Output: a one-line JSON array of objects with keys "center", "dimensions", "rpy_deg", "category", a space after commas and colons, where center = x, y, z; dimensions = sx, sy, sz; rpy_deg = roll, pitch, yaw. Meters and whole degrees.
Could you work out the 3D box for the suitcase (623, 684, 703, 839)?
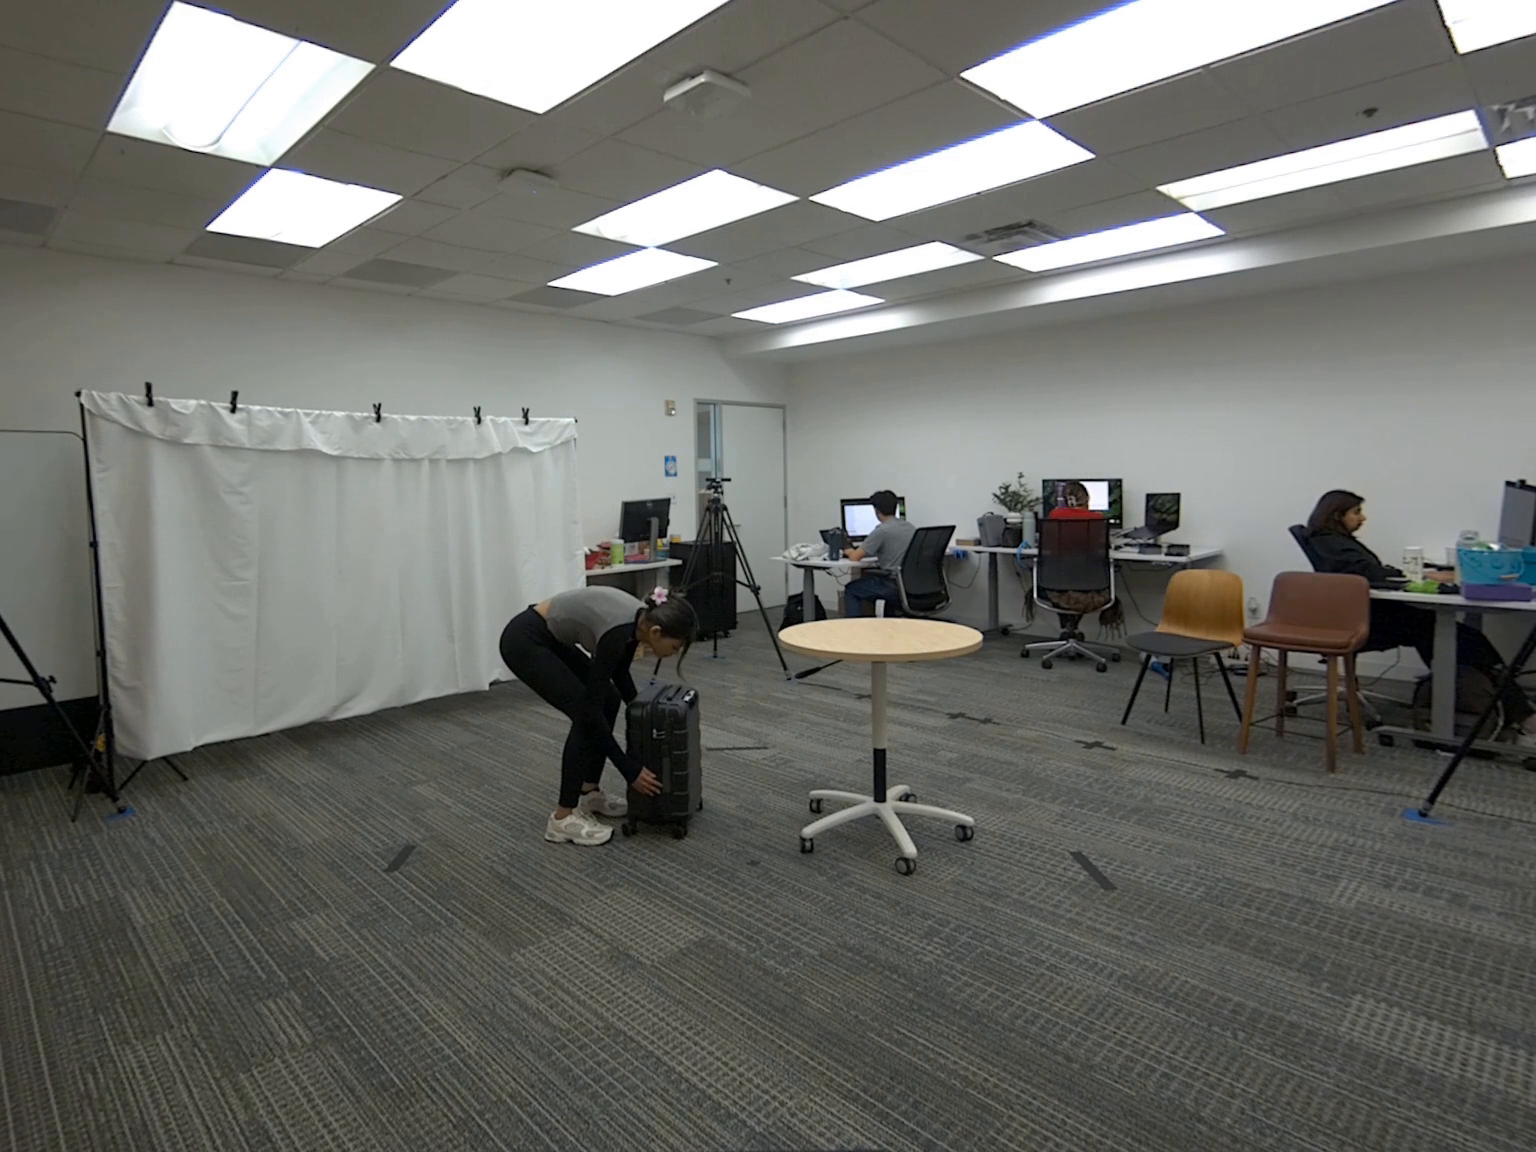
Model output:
[{"center": [-0.427, 0.734, 3.471], "dimensions": [0.250, 0.547, 0.374], "rpy_deg": [0, 5, 5], "category": "suitcase"}]
